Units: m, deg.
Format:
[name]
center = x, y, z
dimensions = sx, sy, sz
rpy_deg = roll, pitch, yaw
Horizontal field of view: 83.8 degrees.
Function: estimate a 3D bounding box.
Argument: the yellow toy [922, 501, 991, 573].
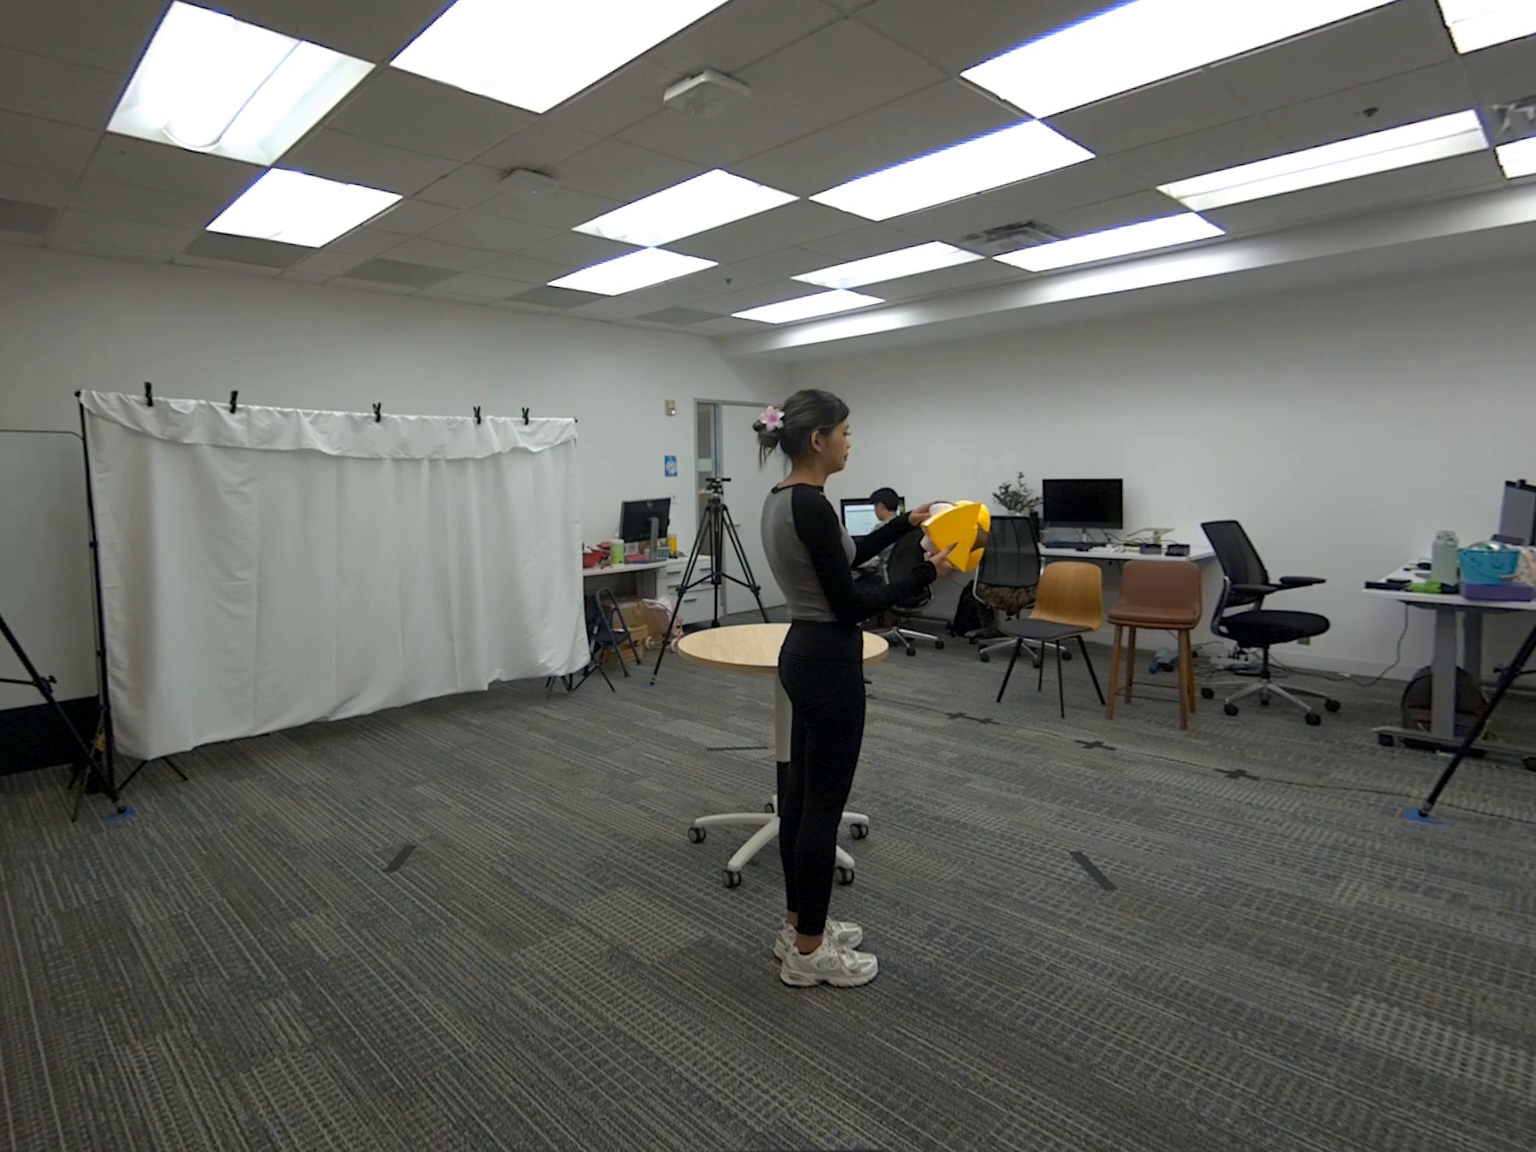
[yellow toy]
center = 0.502, -0.130, 2.453
dimensions = 0.224, 0.204, 0.199
rpy_deg = 10, 6, -32
